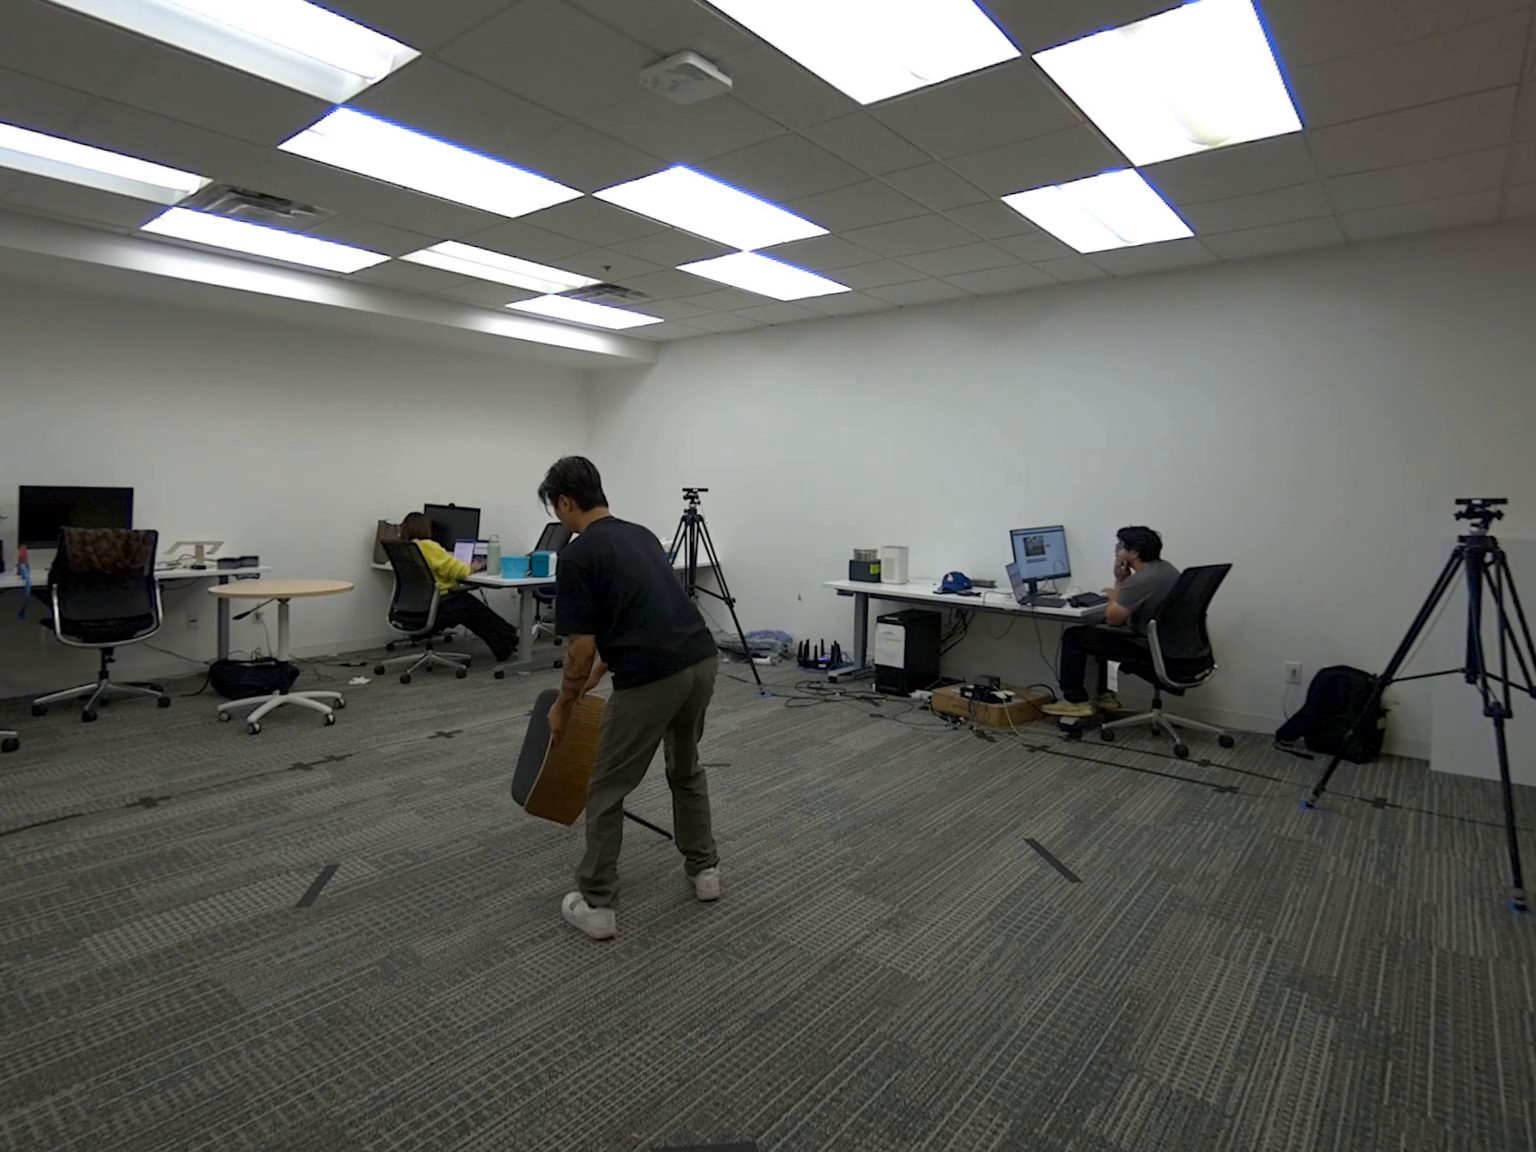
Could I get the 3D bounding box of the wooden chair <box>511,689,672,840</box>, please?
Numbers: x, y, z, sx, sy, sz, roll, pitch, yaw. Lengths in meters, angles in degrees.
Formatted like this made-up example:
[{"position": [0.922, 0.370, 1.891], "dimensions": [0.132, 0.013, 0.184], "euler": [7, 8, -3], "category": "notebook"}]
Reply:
[{"position": [-0.758, 0.688, 3.248], "dimensions": [0.539, 0.482, 0.843], "euler": [6, -14, 30], "category": "wooden chair"}]
